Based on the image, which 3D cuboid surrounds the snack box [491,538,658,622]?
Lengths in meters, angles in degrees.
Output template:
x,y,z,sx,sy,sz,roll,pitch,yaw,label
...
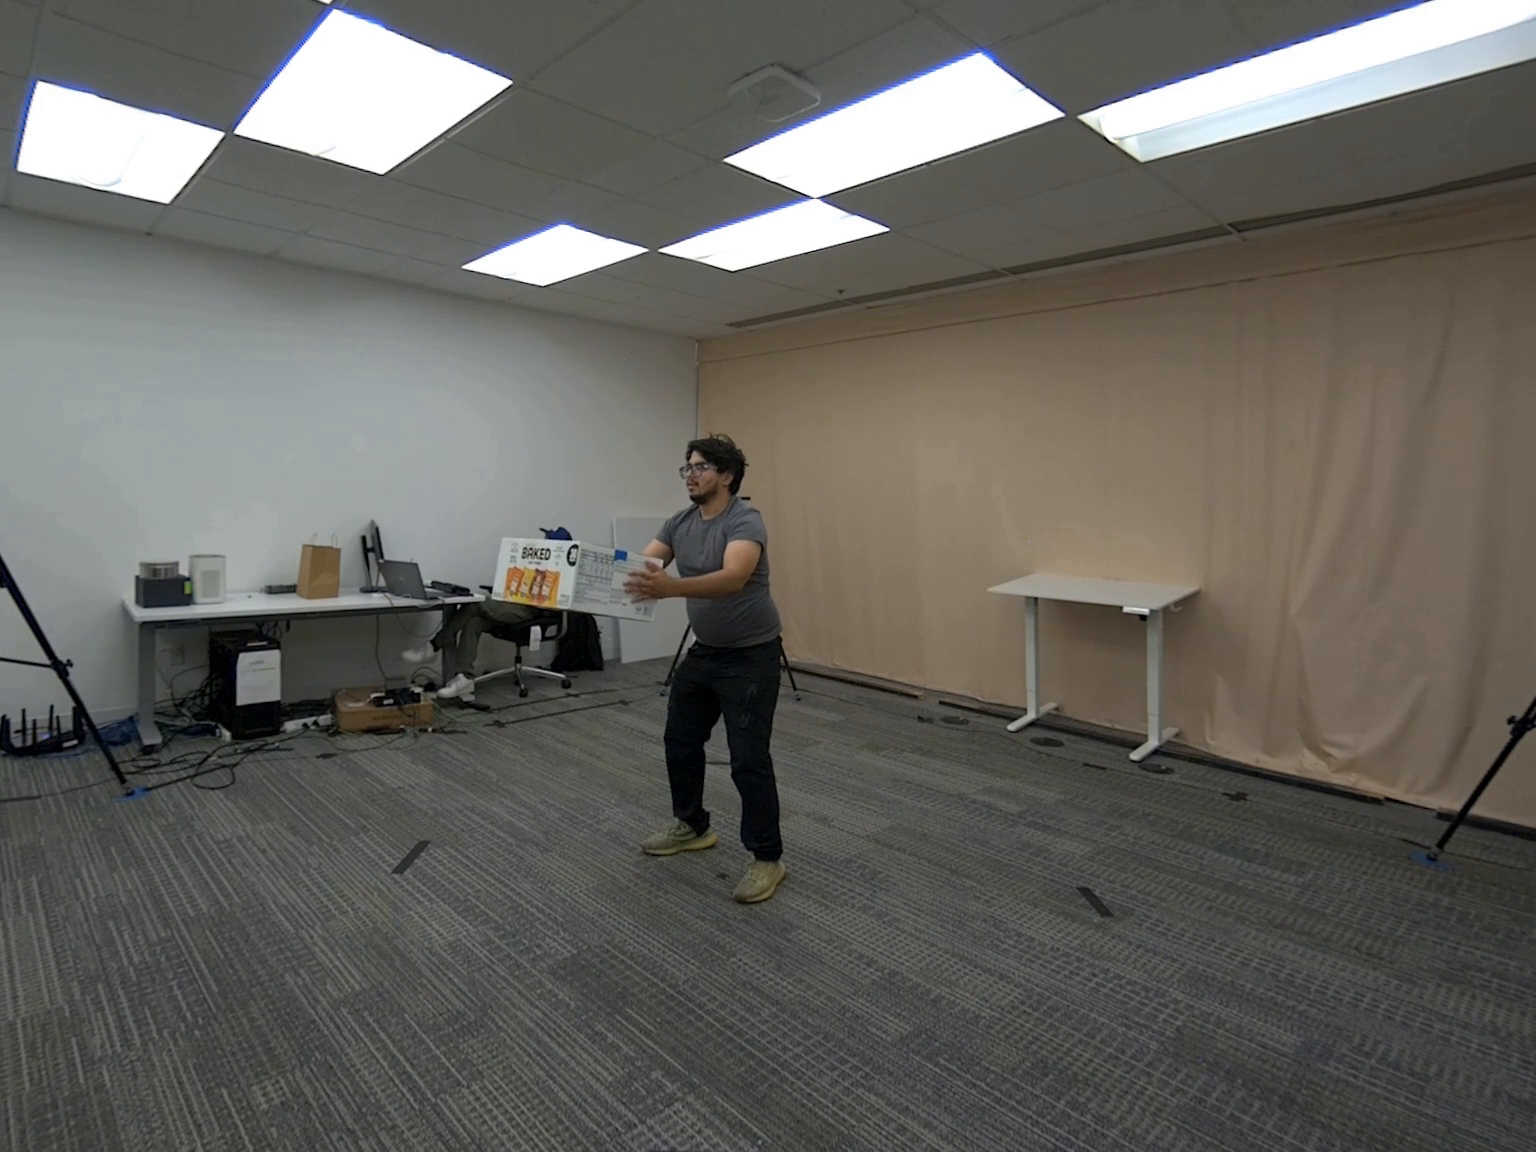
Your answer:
x,y,z,sx,sy,sz,roll,pitch,yaw,label
-0.615,0.025,2.680,0.415,0.206,0.331,4,-5,41,snack box
